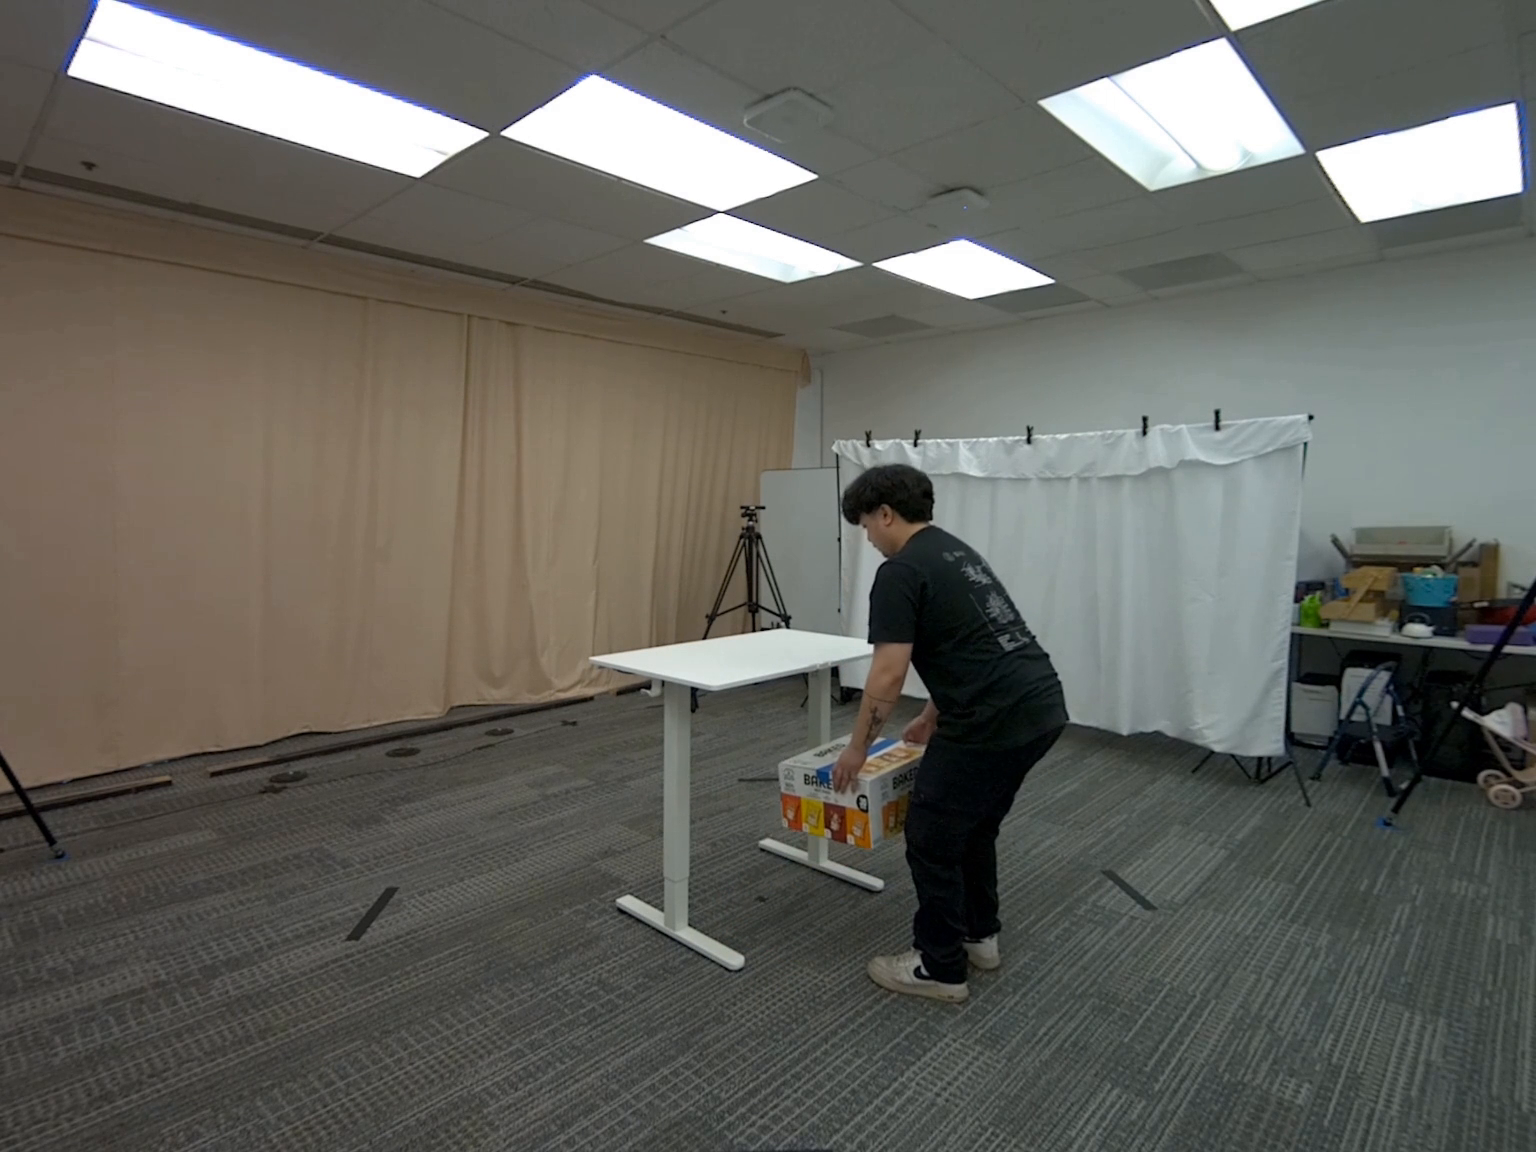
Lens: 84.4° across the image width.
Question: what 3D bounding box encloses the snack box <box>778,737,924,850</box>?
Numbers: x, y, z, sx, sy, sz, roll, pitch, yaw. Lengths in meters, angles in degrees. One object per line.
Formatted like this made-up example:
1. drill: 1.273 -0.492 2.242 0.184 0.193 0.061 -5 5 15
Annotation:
1. snack box: 0.301 0.670 2.675 0.351 0.205 0.393 0 5 42
